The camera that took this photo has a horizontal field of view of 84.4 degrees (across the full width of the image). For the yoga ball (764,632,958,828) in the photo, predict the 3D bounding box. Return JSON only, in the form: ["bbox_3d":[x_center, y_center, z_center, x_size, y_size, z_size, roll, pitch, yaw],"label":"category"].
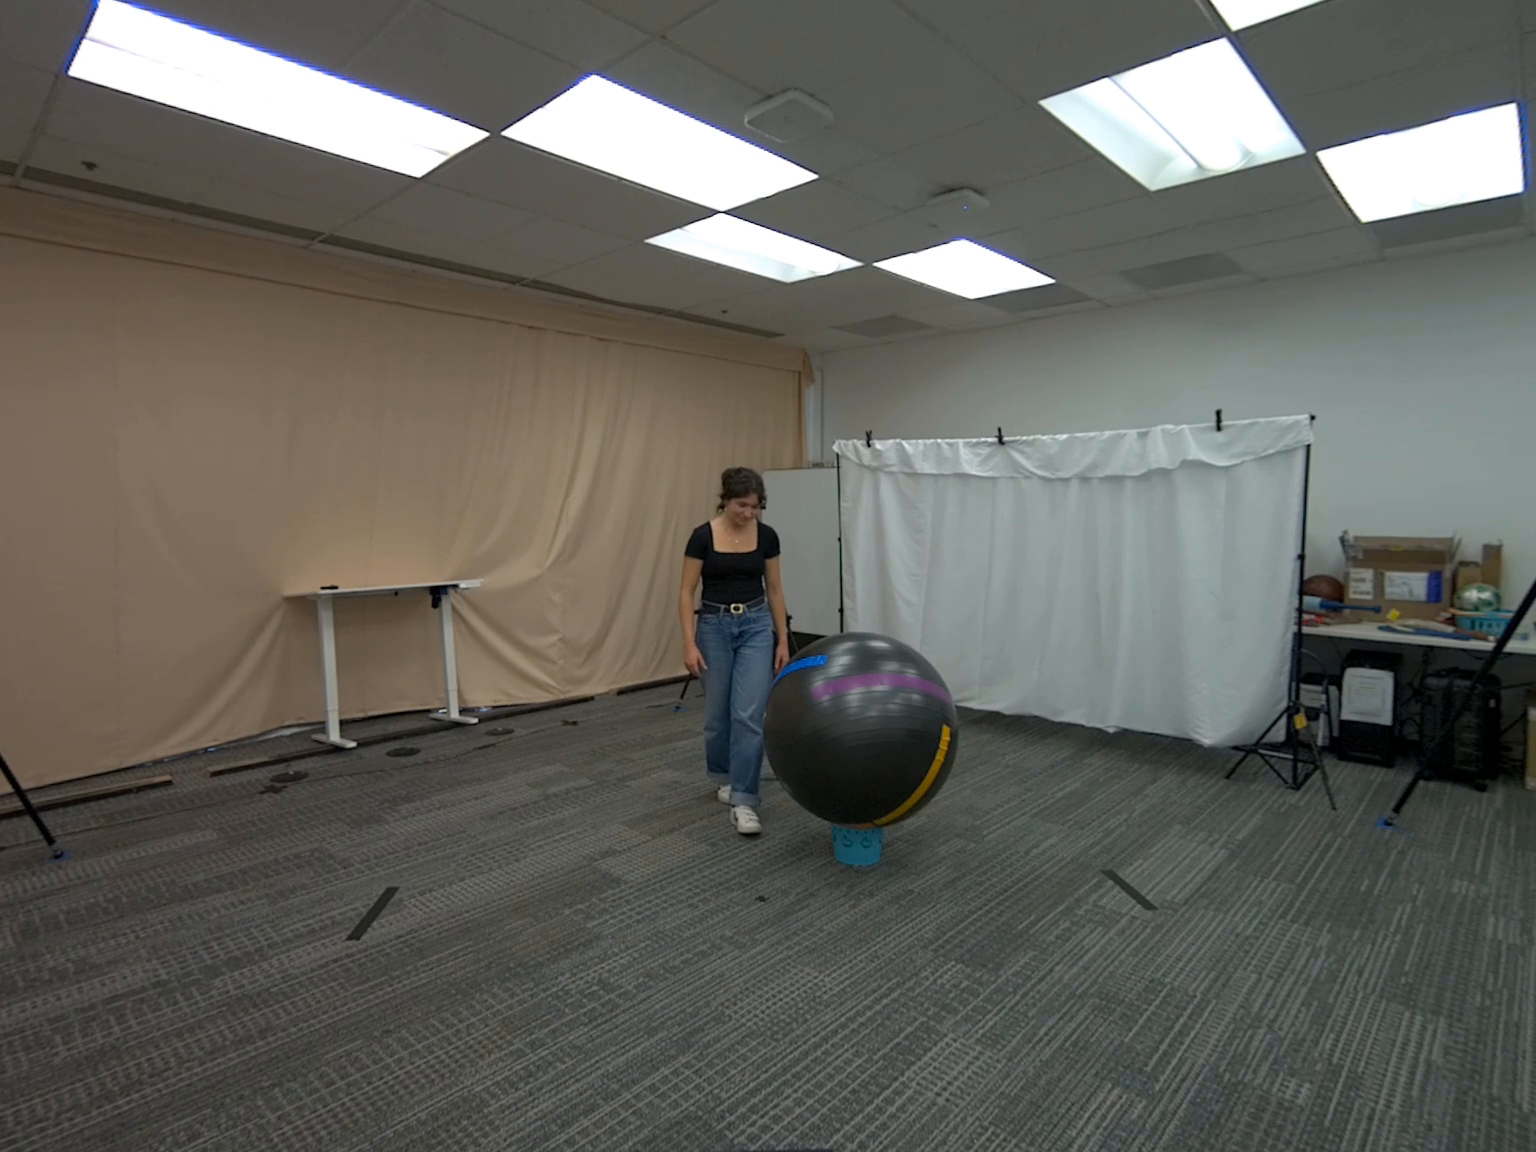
[{"bbox_3d":[0.363,0.605,3.344,0.757,0.756,0.760,0,4,-2],"label":"yoga ball"}]
